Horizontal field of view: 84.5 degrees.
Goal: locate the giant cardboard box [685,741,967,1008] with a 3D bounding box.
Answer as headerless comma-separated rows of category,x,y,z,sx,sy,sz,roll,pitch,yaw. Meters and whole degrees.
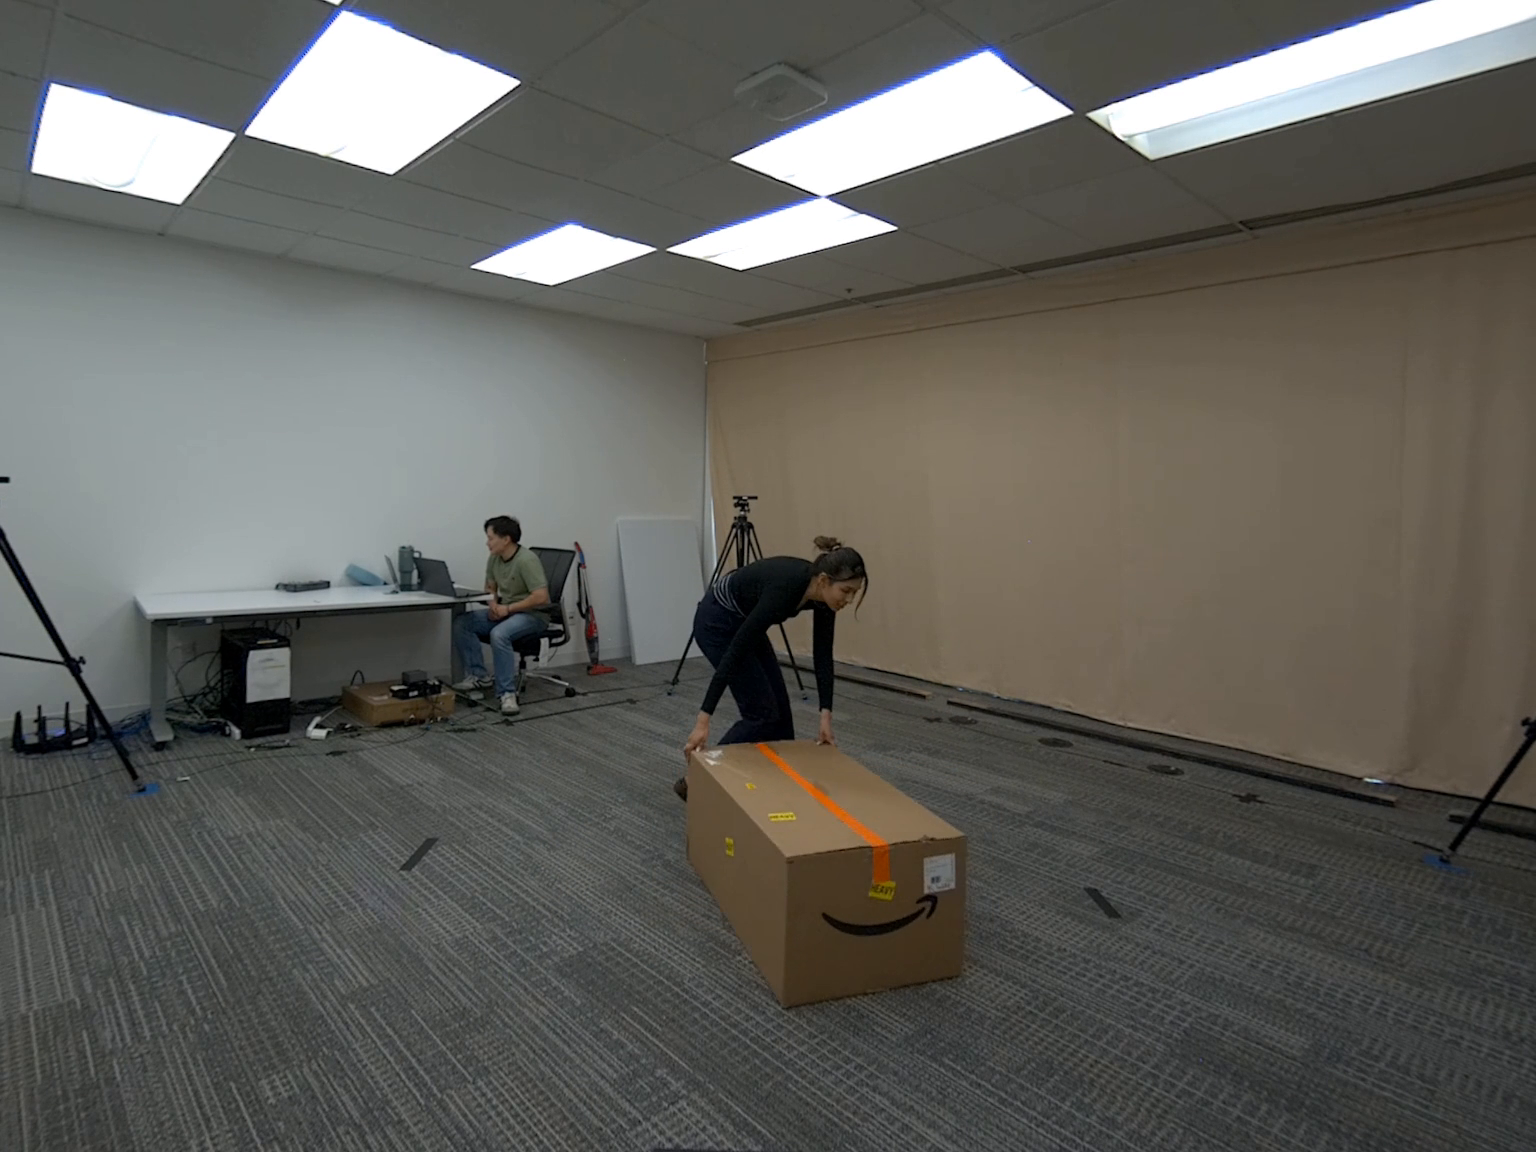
giant cardboard box,0.127,0.918,2.856,0.569,0.425,1.044,-1,5,-20
